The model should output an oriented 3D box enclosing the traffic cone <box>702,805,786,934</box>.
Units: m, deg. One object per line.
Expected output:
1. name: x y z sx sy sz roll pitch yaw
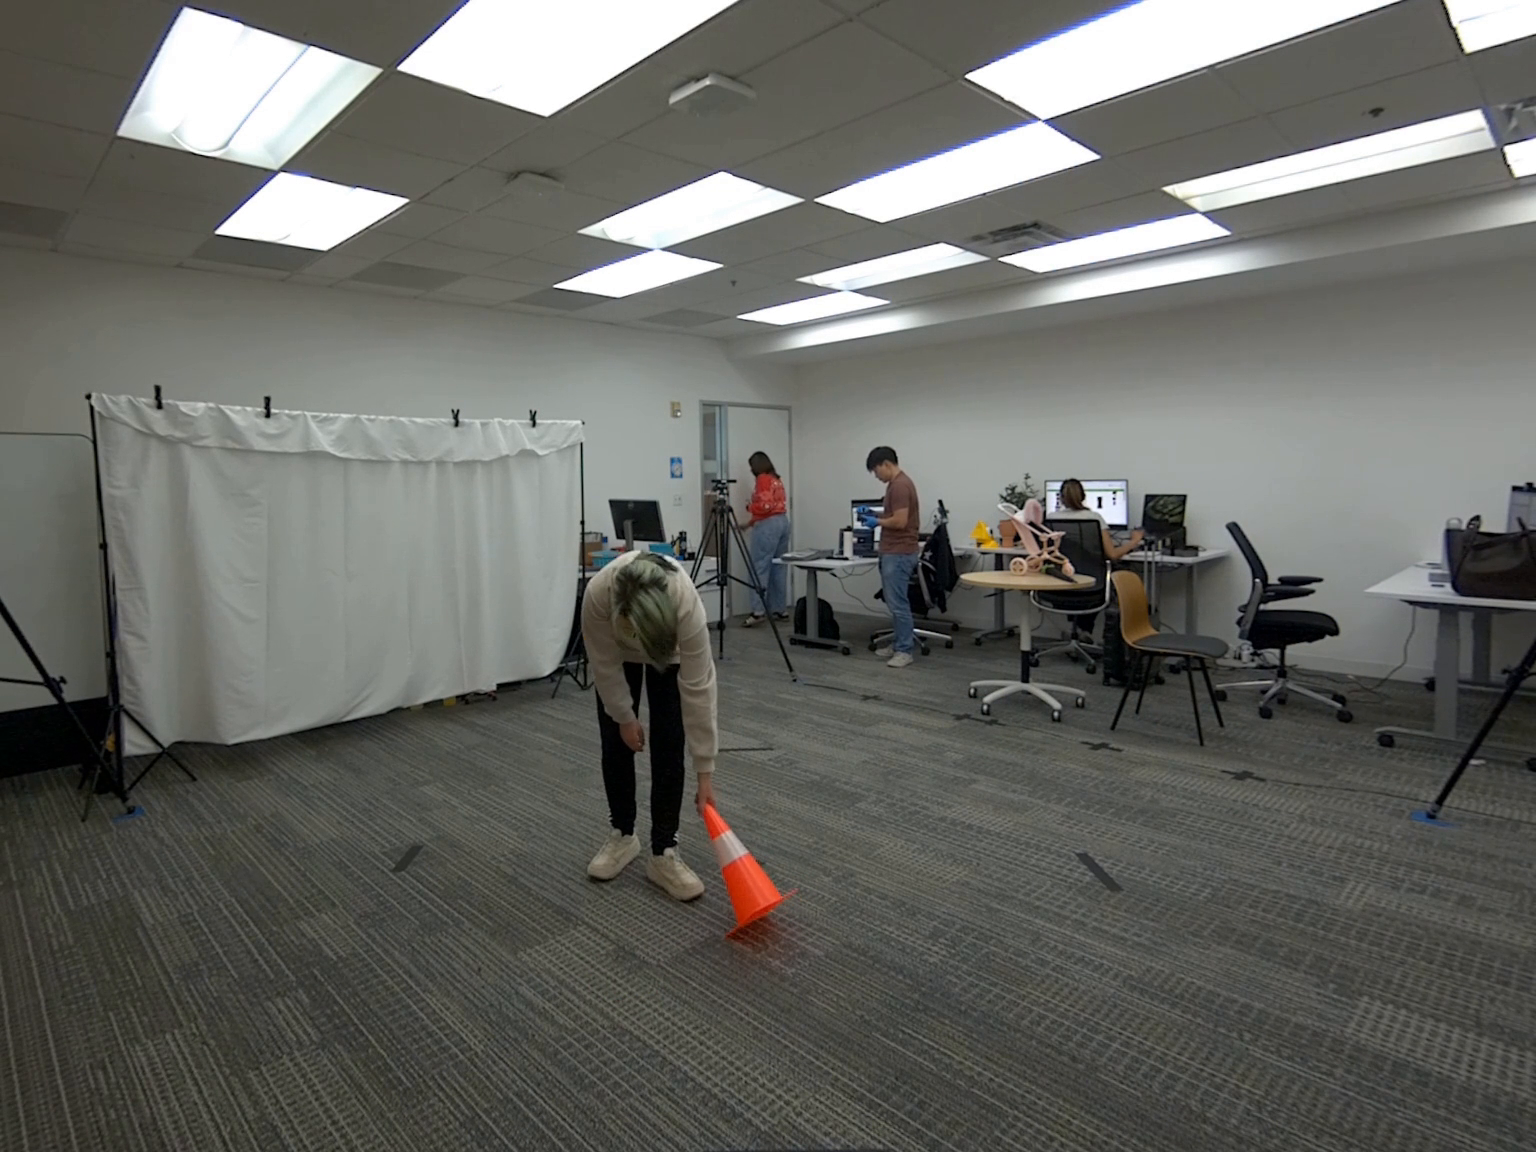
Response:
1. traffic cone: -0.115 0.892 2.701 0.200 0.395 0.202 -9 -34 -44
